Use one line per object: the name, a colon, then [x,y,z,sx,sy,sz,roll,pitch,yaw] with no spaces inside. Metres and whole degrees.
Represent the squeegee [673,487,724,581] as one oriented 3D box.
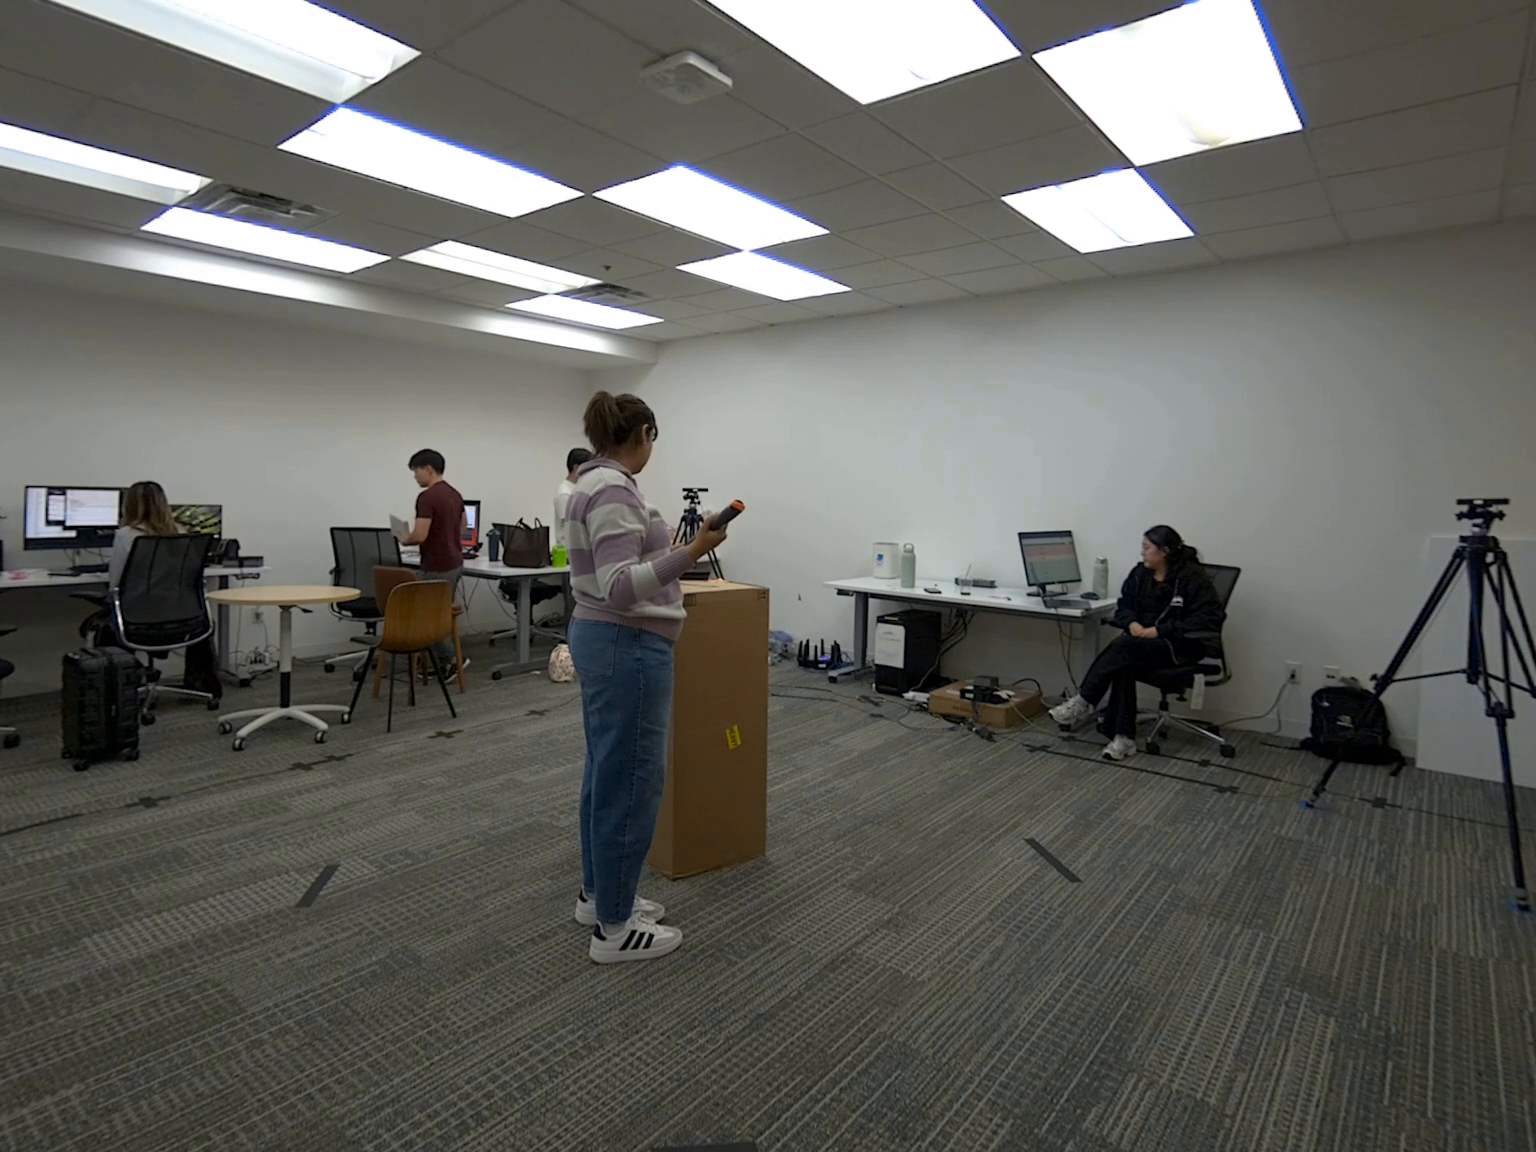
squeegee: [-0.254,-0.096,2.730,0.433,0.053,1.541,-7,-6,-13]
